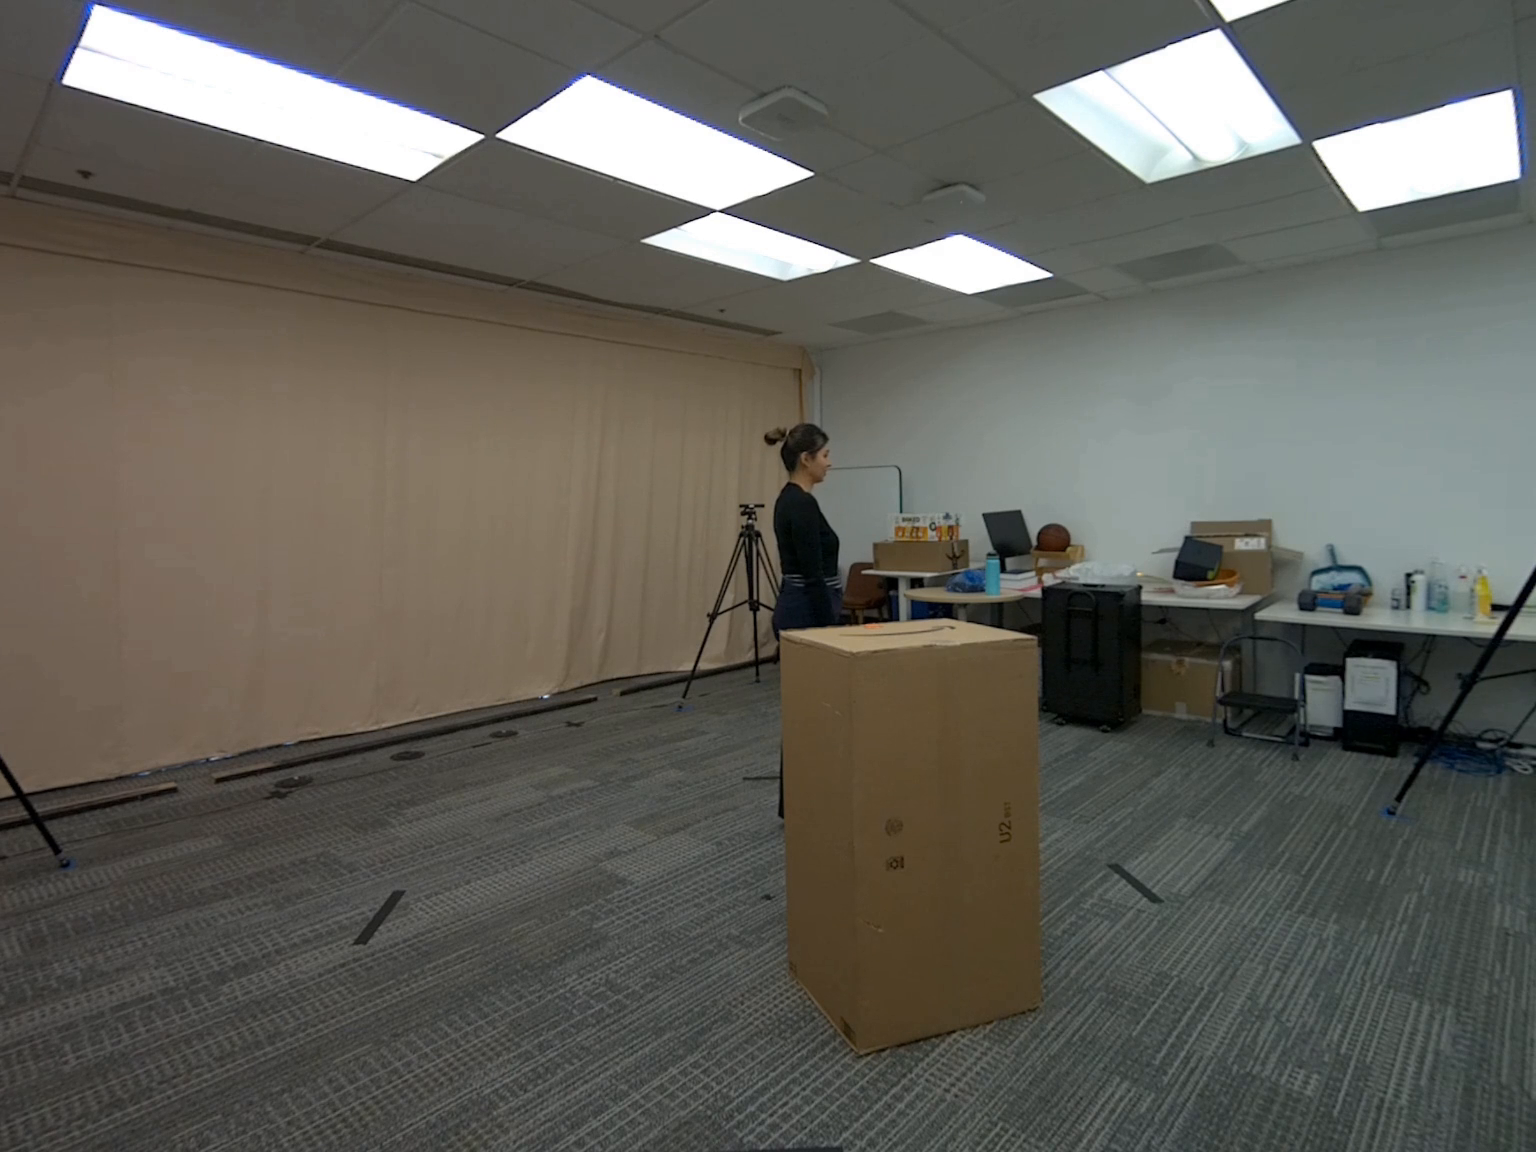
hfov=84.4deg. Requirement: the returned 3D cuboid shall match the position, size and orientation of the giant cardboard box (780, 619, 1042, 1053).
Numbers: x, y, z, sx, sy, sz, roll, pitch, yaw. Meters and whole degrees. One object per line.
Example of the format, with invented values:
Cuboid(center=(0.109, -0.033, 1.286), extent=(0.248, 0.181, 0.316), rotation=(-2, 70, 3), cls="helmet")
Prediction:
Cuboid(center=(0.398, 0.673, 2.384), extent=(0.566, 1.024, 0.436), rotation=(-2, 3, -22), cls="giant cardboard box")
